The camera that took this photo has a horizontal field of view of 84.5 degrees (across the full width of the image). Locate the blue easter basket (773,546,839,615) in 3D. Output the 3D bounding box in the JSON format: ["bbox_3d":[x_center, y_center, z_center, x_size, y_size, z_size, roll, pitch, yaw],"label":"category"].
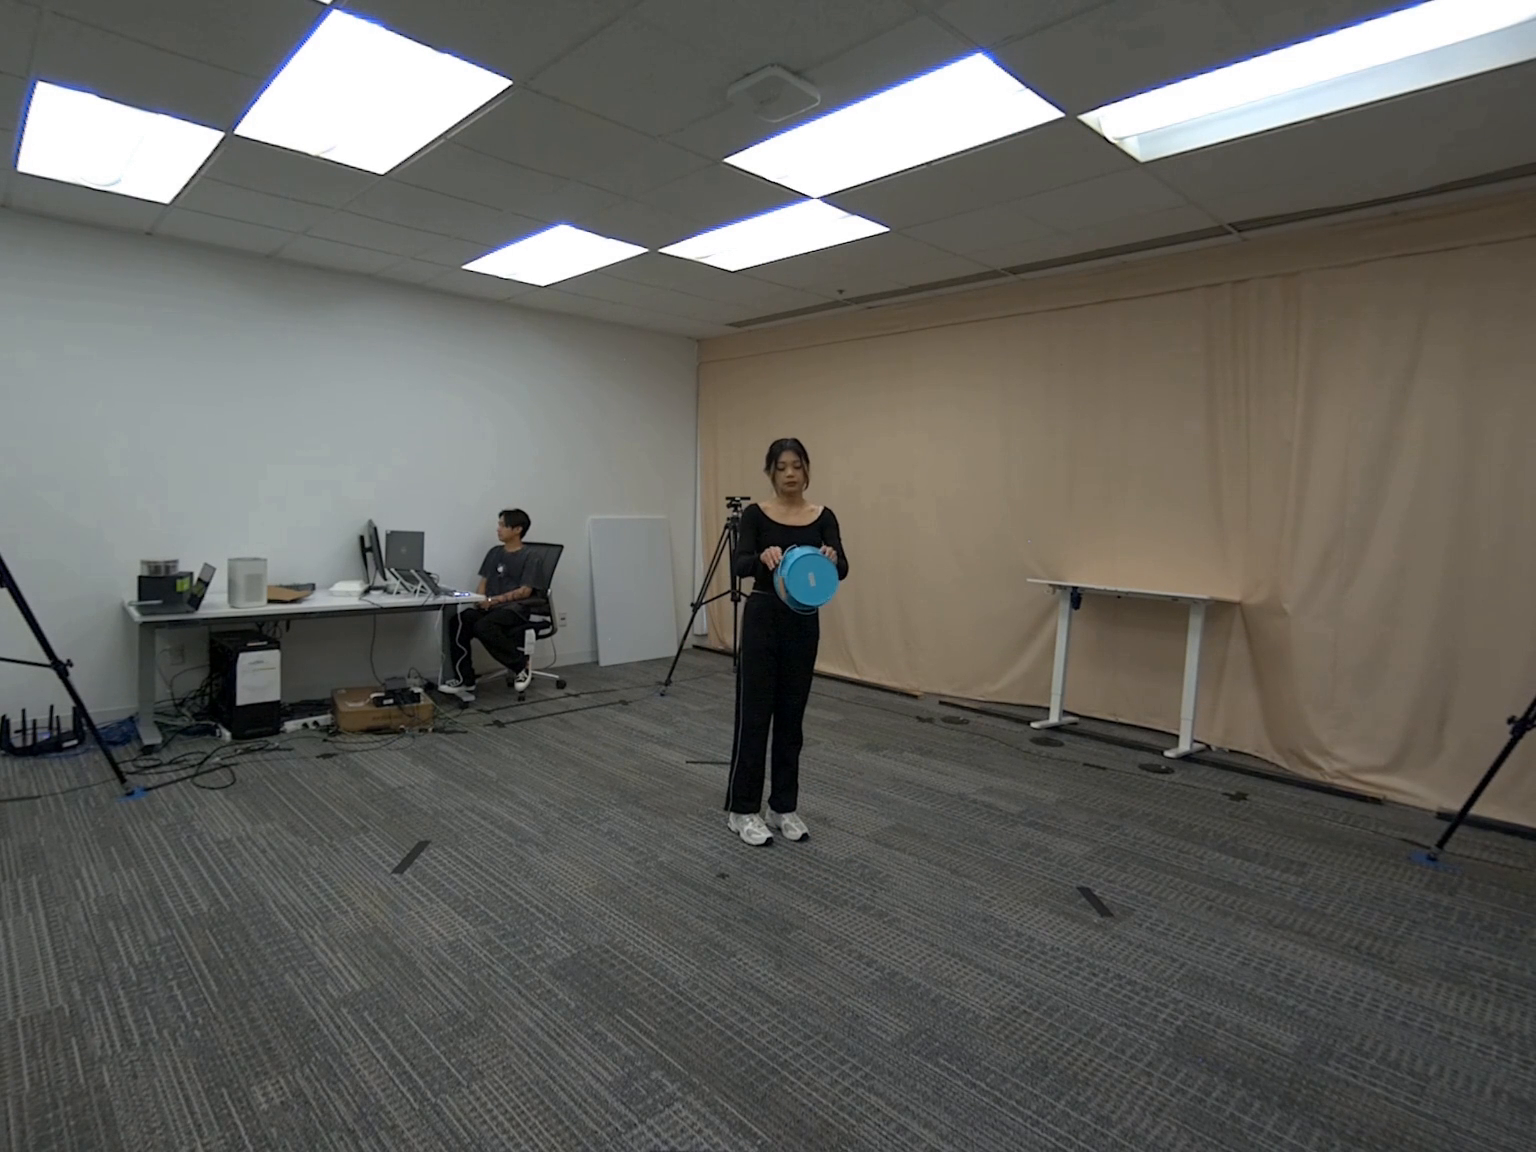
[{"bbox_3d":[0.136,0.011,2.986,0.242,0.243,0.156,1,1,-6],"label":"blue easter basket"}]
